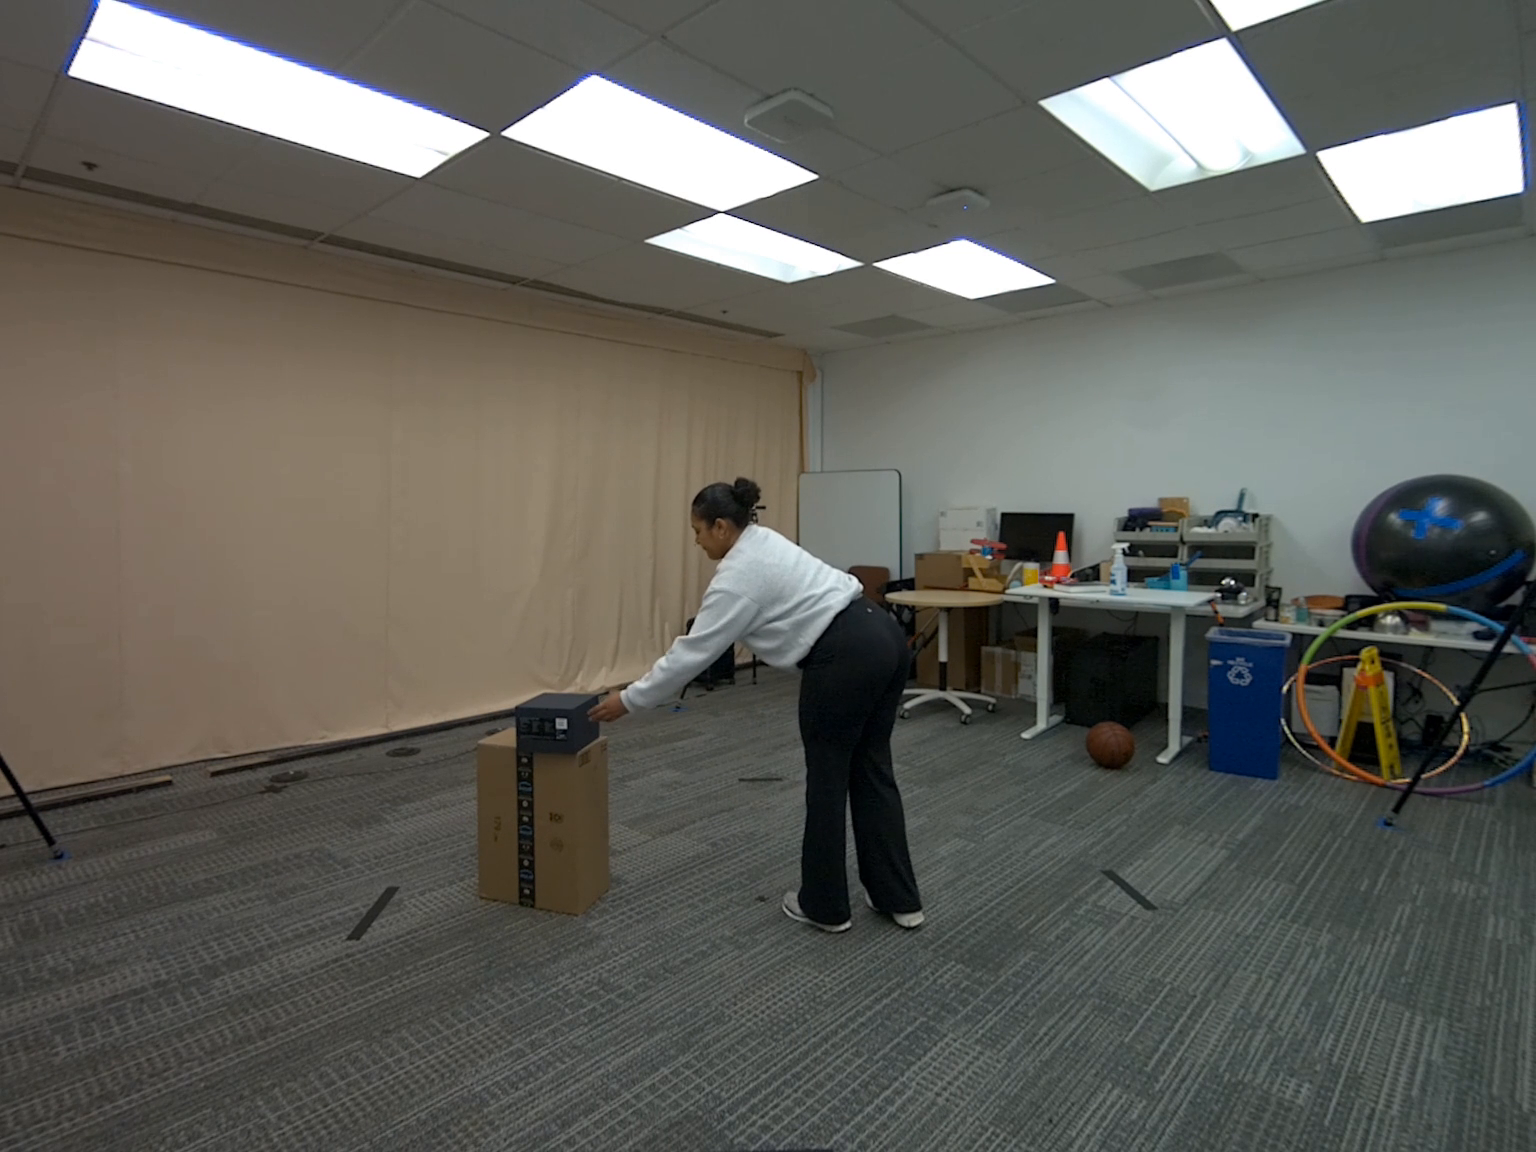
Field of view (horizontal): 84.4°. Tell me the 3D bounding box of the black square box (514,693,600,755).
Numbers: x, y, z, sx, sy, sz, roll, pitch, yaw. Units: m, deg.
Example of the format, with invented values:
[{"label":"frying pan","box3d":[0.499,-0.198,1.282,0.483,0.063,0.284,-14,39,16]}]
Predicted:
[{"label":"black square box","box3d":[-0.728,0.506,2.942,0.220,0.155,0.225,-1,3,13]}]
